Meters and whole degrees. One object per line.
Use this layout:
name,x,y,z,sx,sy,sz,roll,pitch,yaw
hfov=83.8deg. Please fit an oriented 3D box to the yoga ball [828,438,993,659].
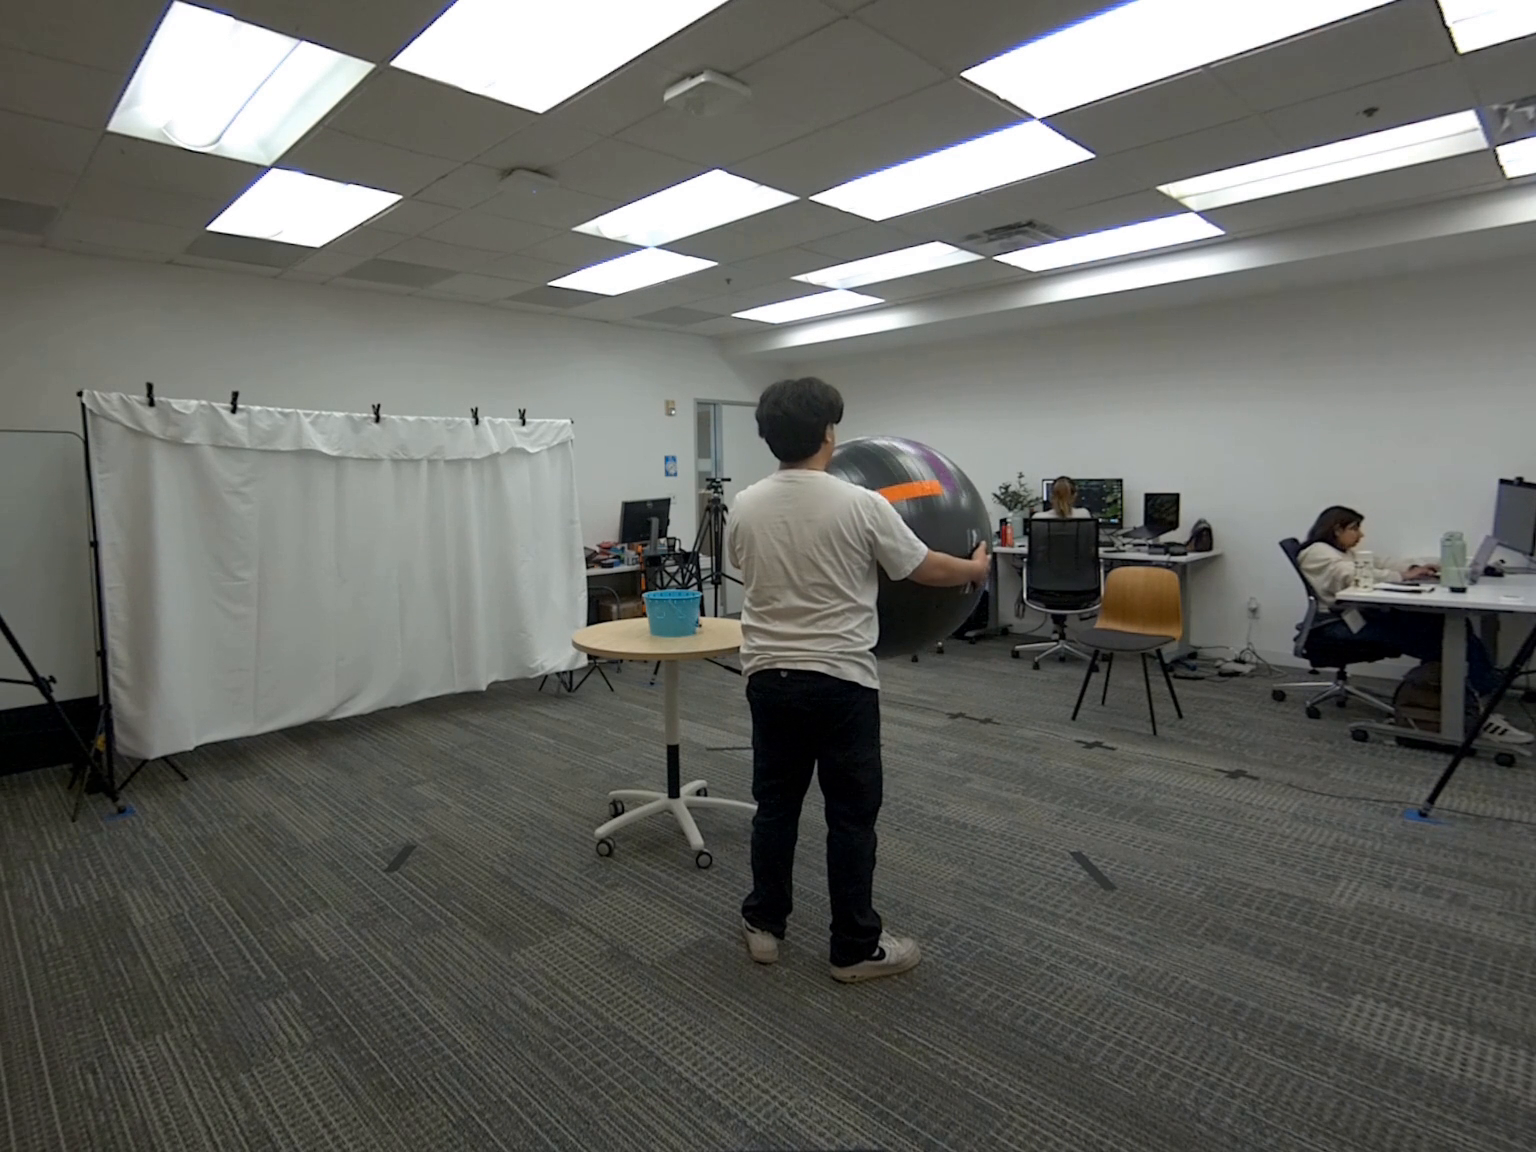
yoga ball,0.383,-0.089,2.921,0.757,0.755,0.762,-1,5,-2
